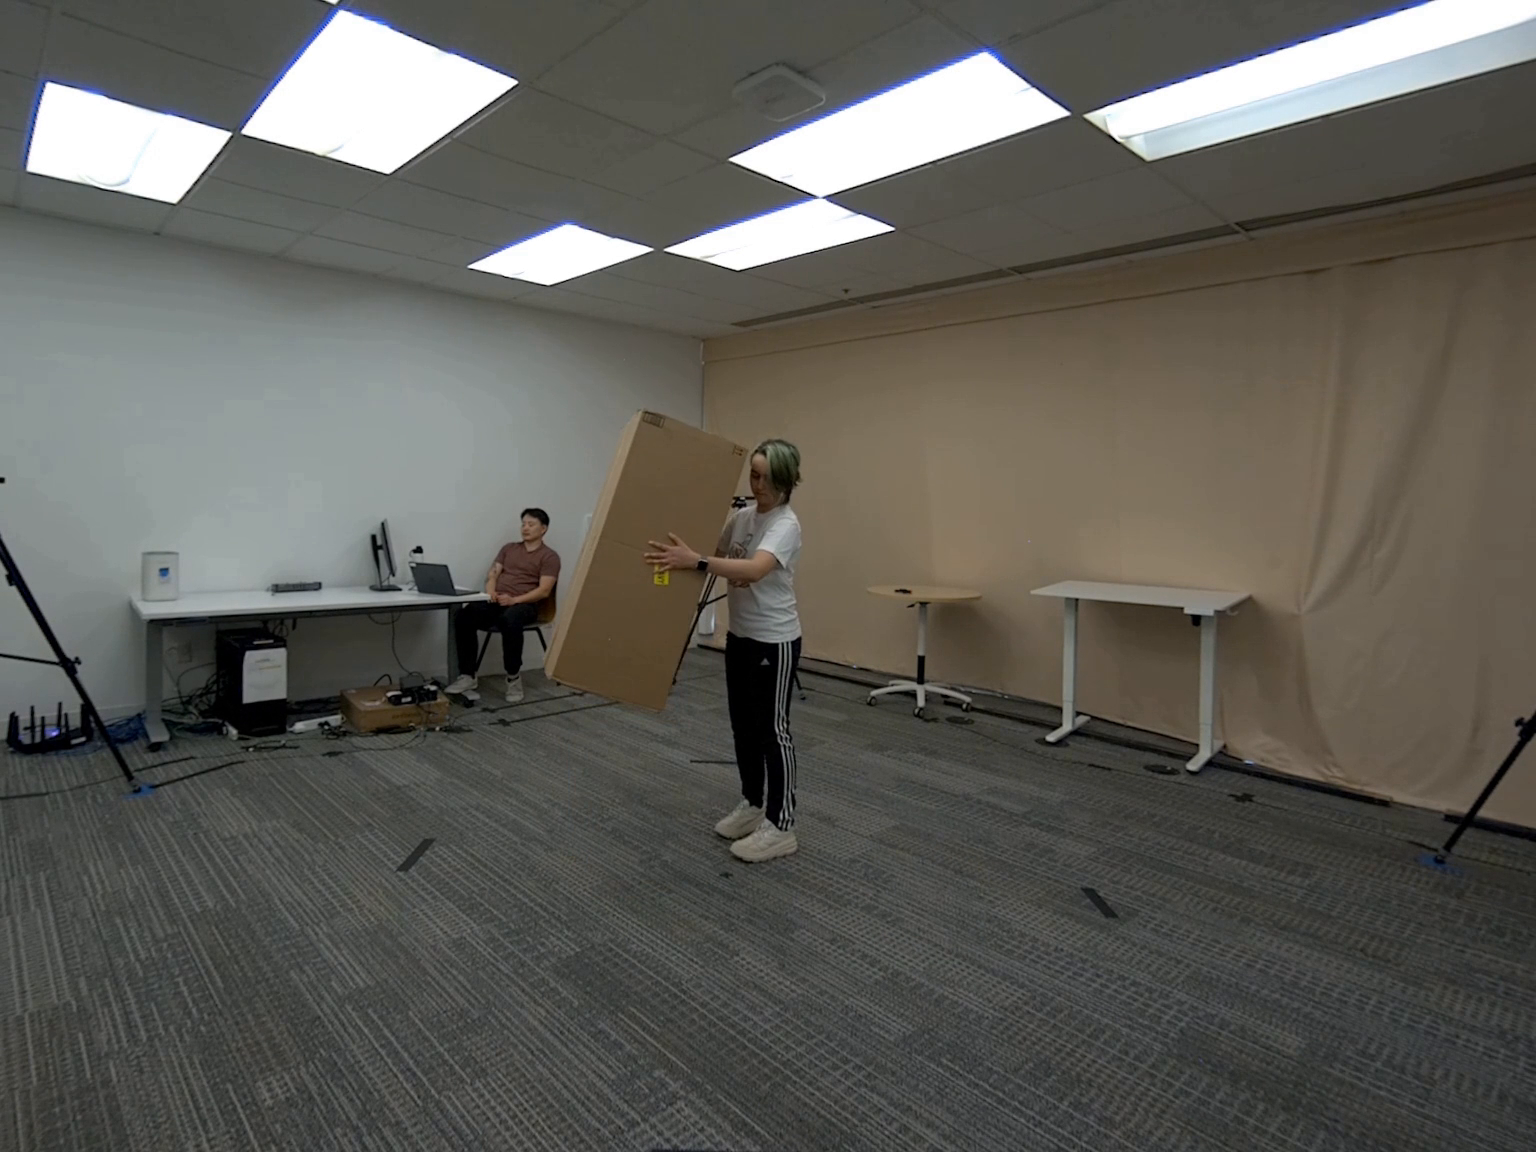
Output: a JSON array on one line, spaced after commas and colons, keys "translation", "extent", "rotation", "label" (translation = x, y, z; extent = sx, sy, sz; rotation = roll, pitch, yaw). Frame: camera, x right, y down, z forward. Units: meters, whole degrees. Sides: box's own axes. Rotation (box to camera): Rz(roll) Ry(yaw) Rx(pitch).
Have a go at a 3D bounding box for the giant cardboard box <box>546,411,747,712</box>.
[{"translation": [-0.502, -0.054, 3.284], "extent": [0.439, 1.029, 0.592], "rotation": [19, -5, -18], "label": "giant cardboard box"}]
